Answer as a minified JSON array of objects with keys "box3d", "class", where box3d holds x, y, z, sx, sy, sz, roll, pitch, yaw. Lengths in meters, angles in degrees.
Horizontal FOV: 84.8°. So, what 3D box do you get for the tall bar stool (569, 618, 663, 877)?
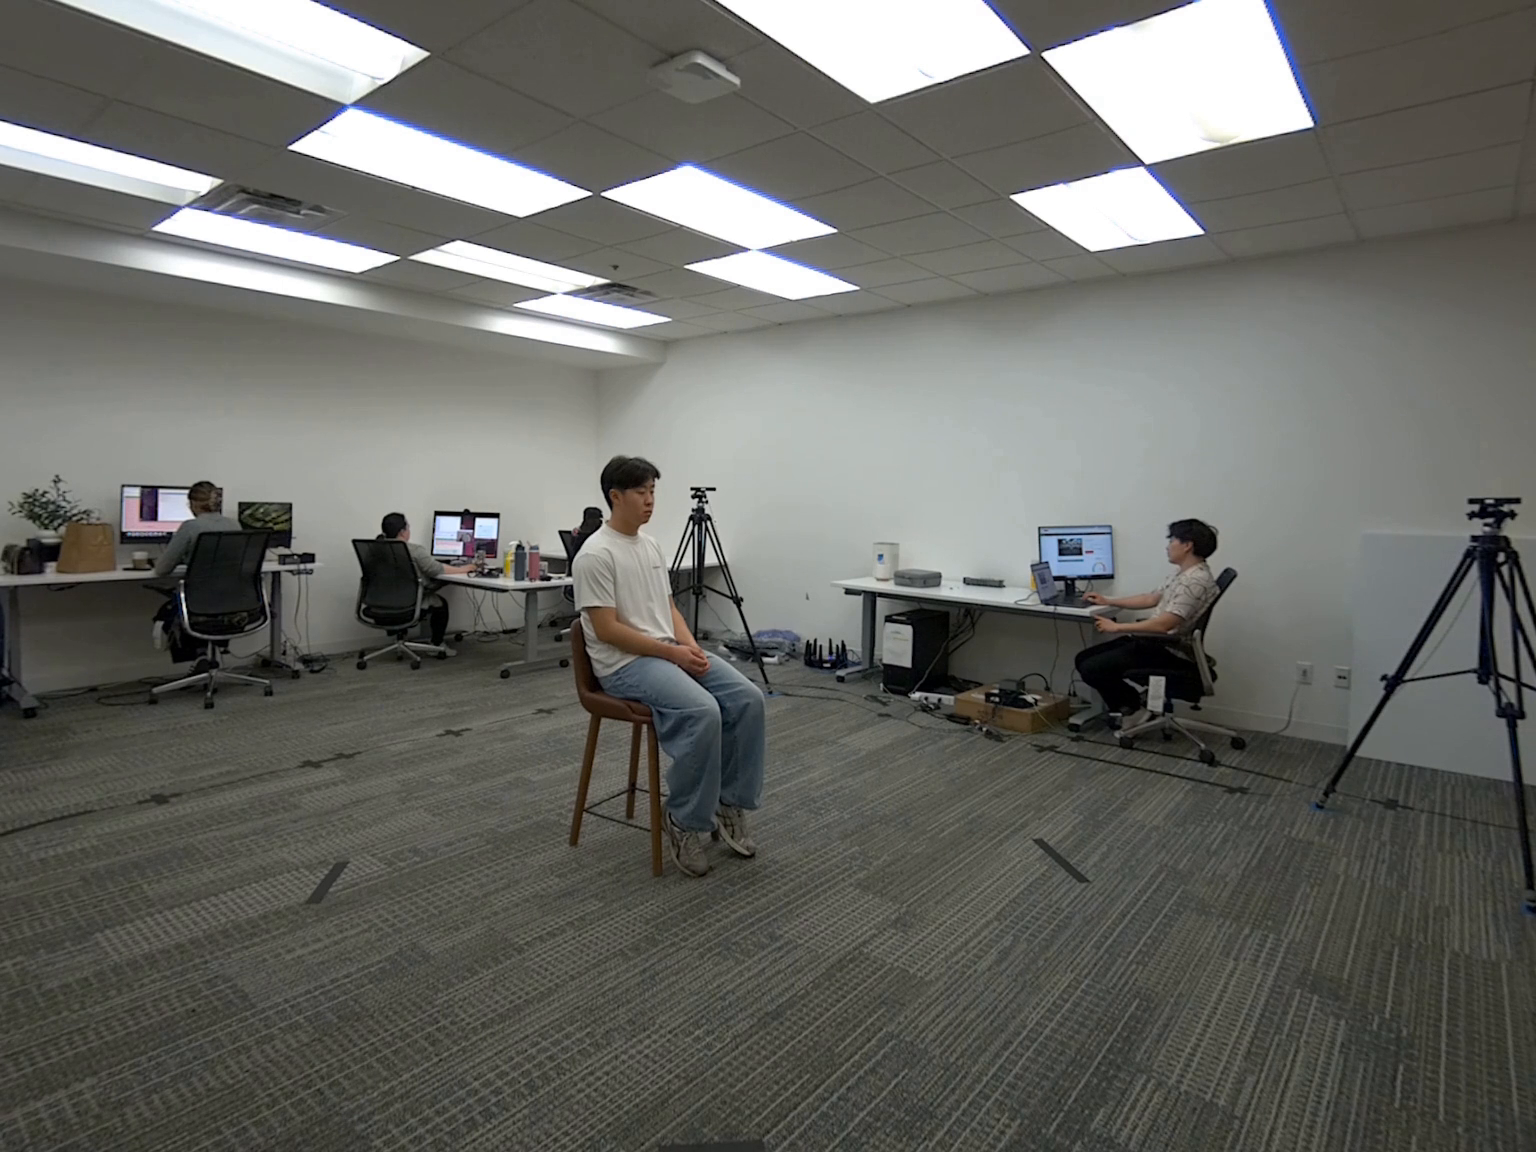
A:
[{"box3d":[-0.500,0.606,3.316,0.481,0.889,0.444,0,1,31],"class":"tall bar stool"}]
